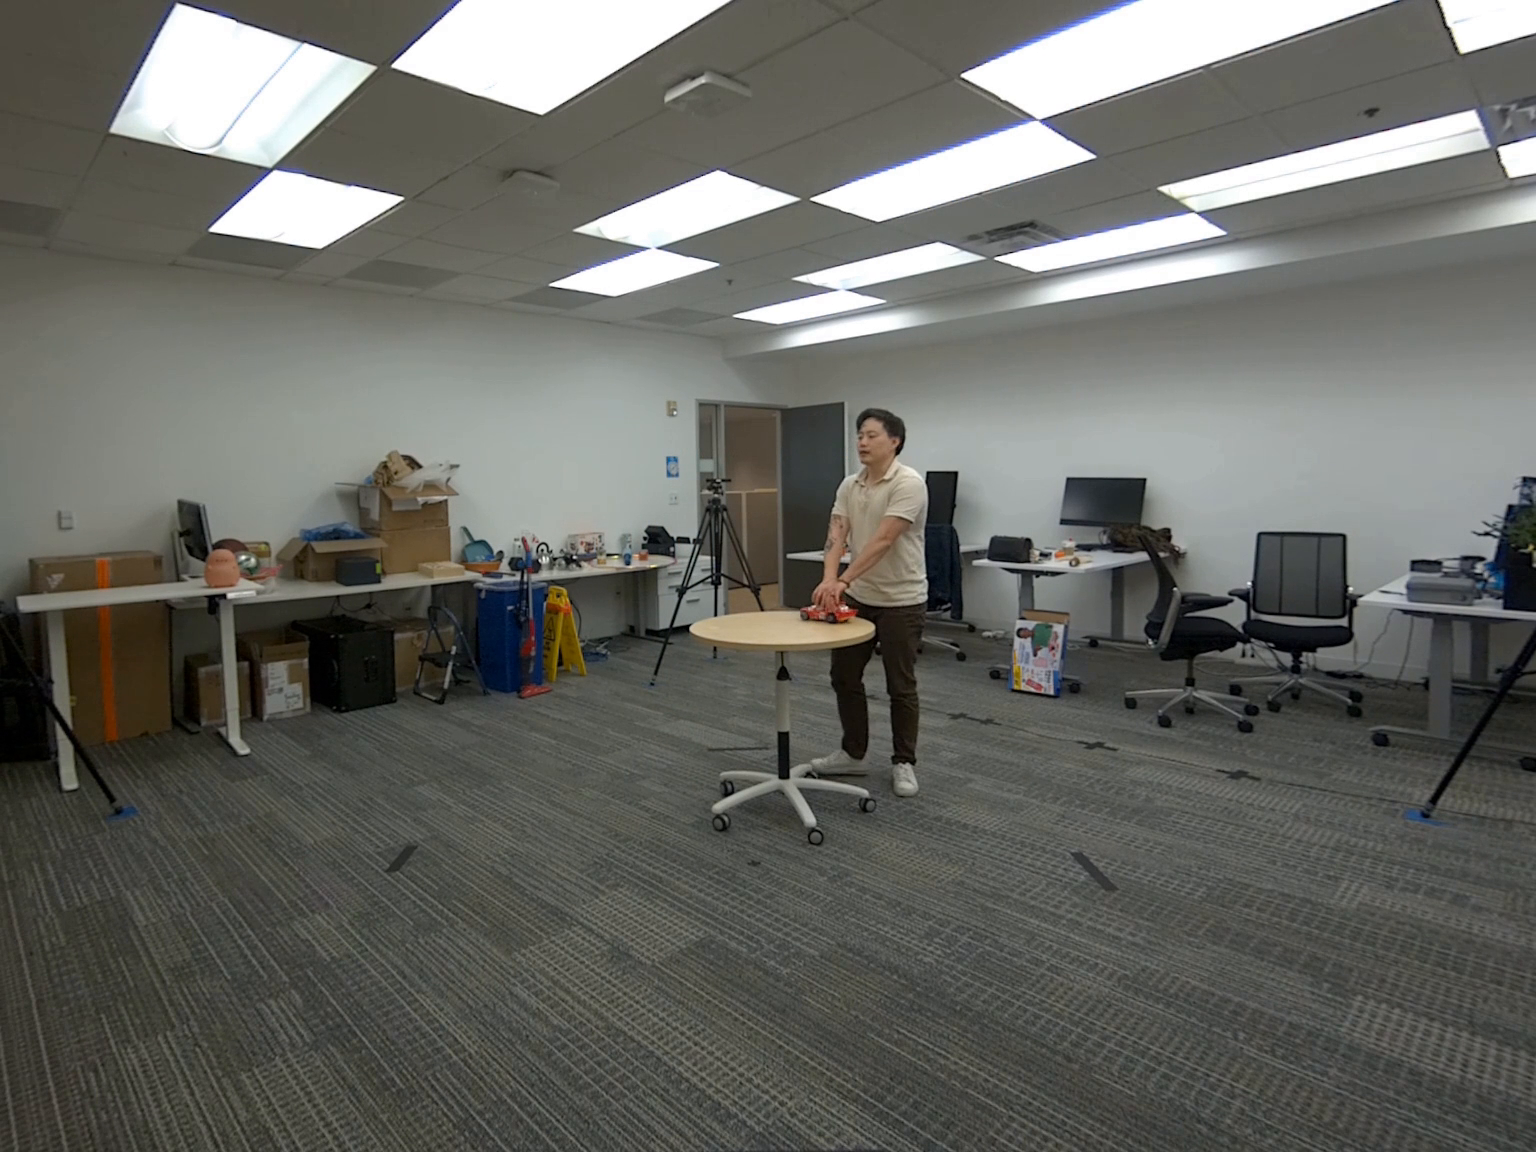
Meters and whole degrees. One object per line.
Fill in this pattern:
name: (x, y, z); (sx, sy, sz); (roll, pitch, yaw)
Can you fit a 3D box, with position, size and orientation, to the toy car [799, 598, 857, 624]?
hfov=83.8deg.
toy car: (0.260, 0.163, 3.643); (0.260, 0.083, 0.127); (-9, -1, 42)
